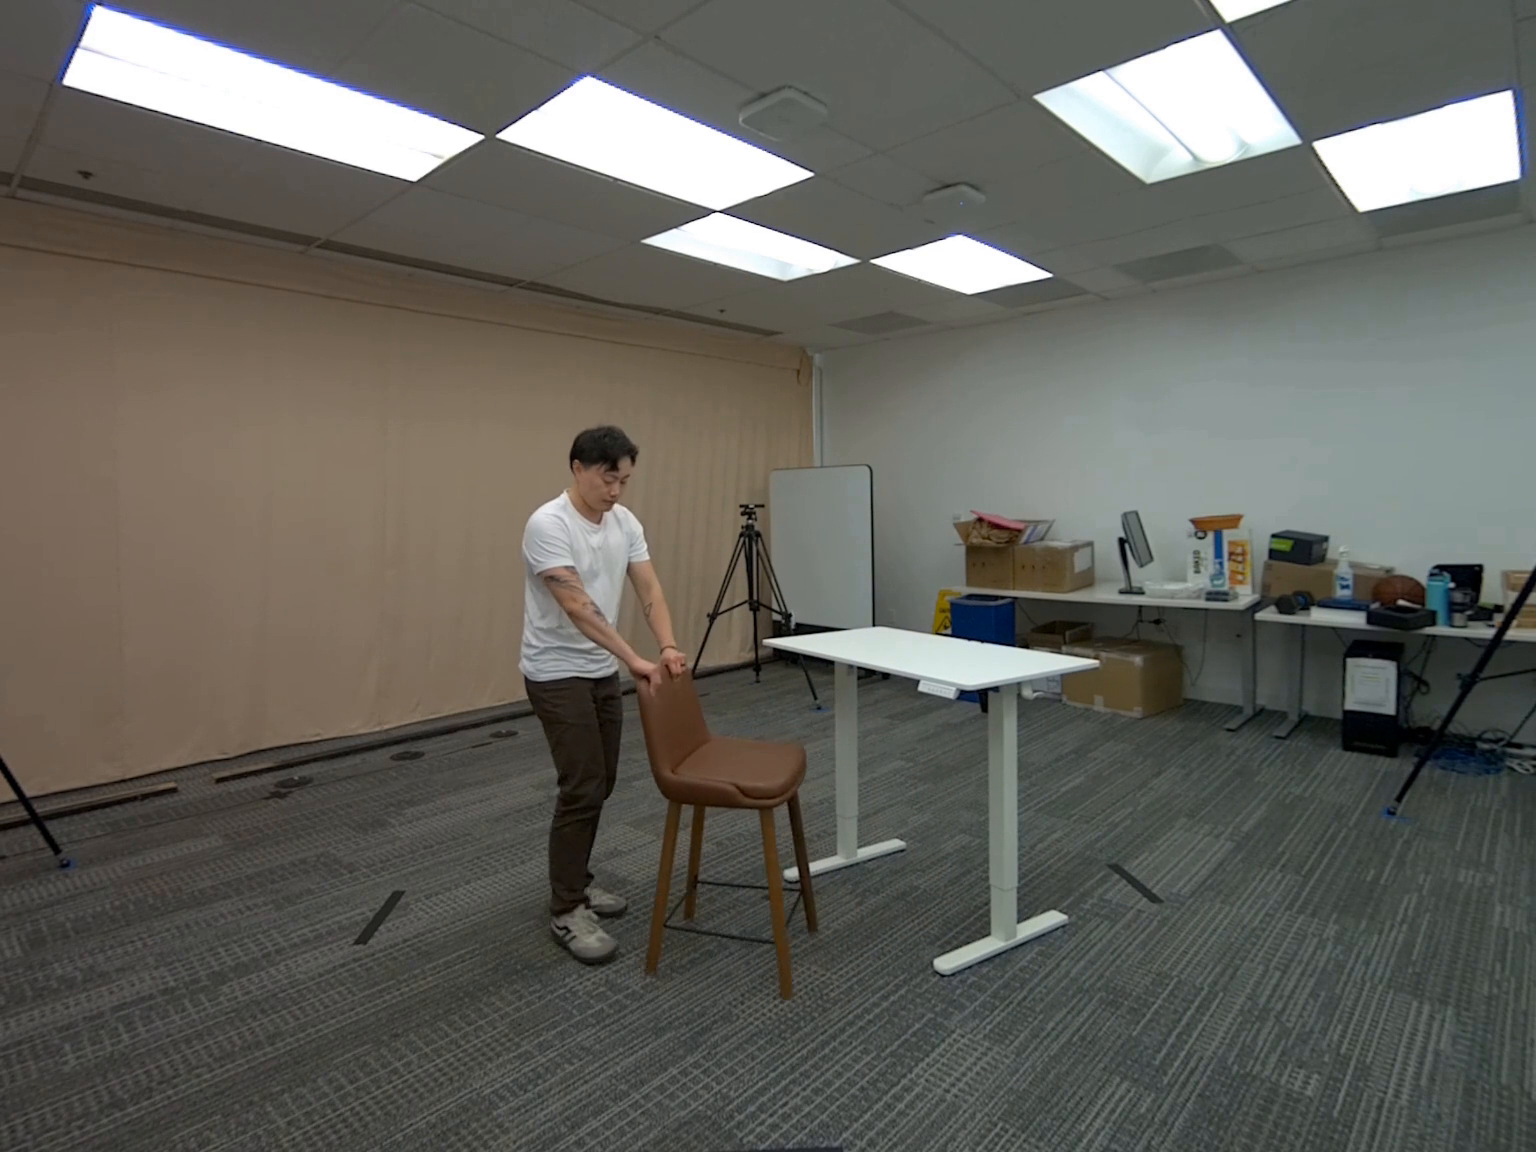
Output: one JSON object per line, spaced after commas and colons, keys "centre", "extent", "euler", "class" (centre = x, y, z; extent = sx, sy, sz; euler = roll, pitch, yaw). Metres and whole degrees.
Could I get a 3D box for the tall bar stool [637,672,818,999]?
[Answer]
{"centre": [-0.118, 0.737, 2.600], "extent": [0.476, 0.888, 0.449], "euler": [-2, 3, 17], "class": "tall bar stool"}
